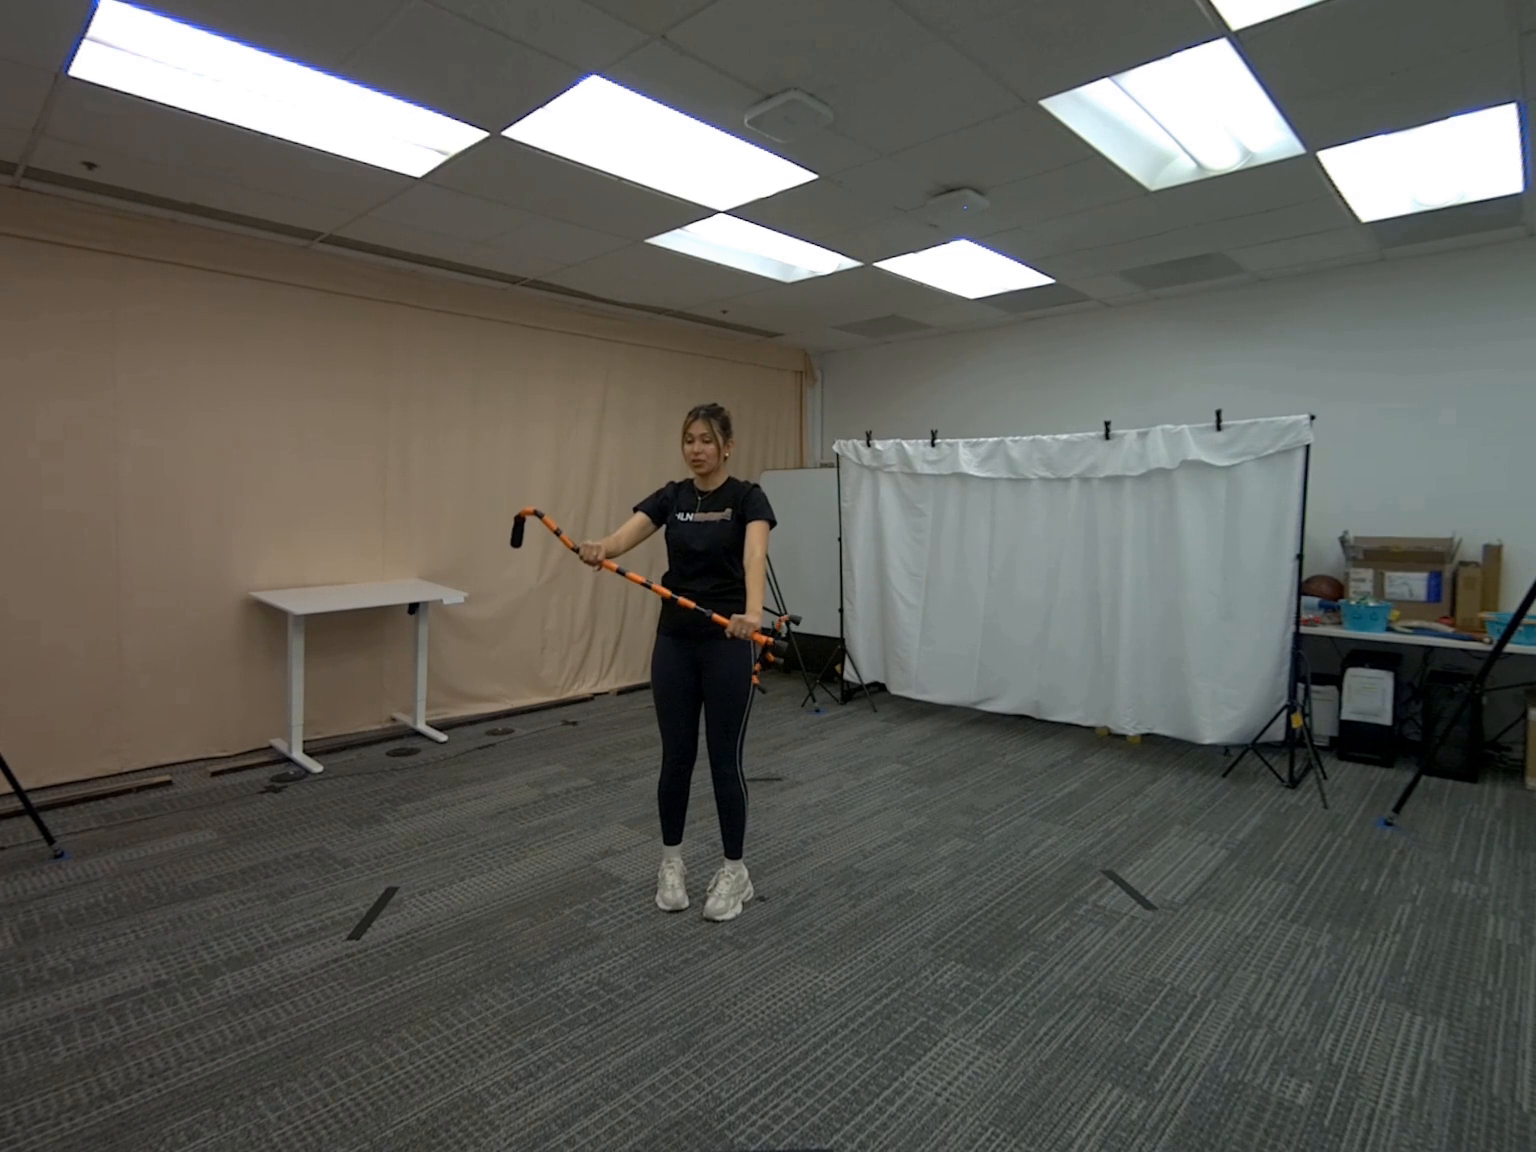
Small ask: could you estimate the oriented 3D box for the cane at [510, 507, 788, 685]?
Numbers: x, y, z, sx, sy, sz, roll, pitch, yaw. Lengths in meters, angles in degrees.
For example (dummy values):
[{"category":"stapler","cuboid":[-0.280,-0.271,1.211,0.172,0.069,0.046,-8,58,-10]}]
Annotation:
[{"category":"cane","cuboid":[-0.362,0.032,2.465,0.919,0.205,0.151,26,38,9]}]
